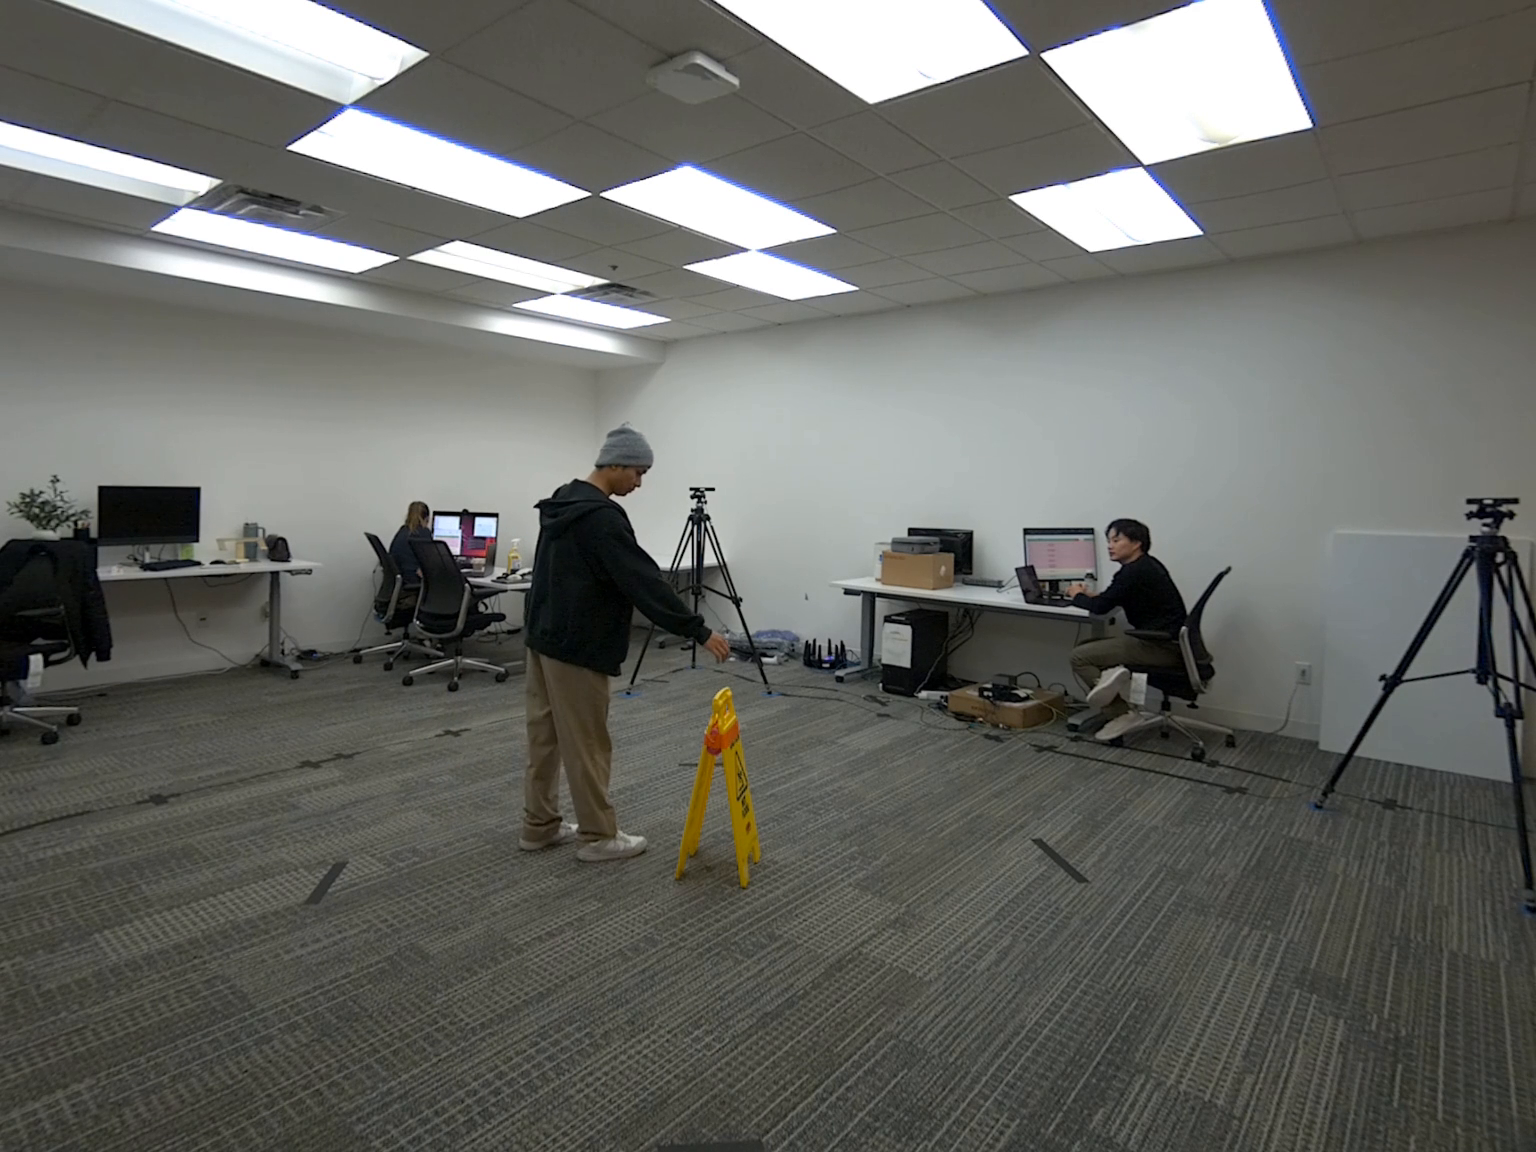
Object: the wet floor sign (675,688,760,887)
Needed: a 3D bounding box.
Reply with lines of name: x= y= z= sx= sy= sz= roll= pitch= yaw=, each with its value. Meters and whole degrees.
wet floor sign: x=-0.179 y=0.743 z=3.098 sx=0.294 sy=0.644 sz=0.279 roll=3 pitch=4 yaw=11
